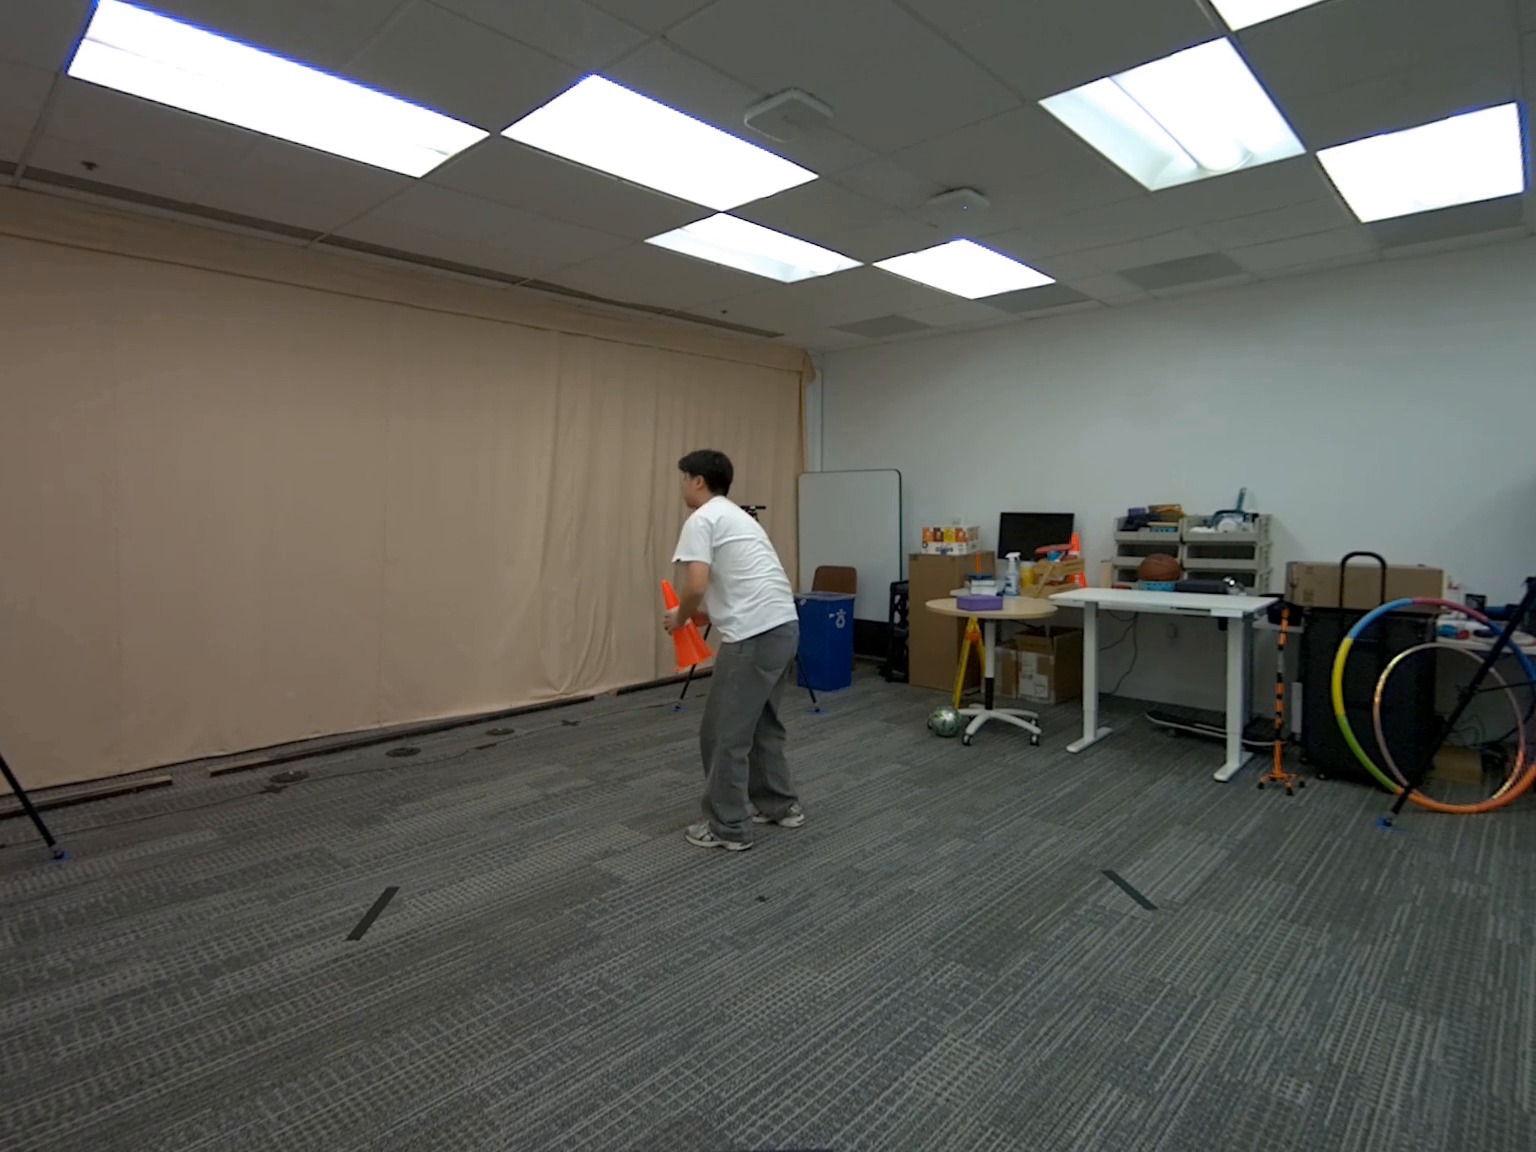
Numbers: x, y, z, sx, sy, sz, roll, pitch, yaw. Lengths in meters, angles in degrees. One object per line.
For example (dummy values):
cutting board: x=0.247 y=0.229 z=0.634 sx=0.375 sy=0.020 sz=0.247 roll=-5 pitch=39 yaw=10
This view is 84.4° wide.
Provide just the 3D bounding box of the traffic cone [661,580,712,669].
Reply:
traffic cone: x=-0.384 y=0.234 z=3.748 sx=0.209 sy=0.383 sz=0.199 roll=-19 pitch=2 yaw=29
